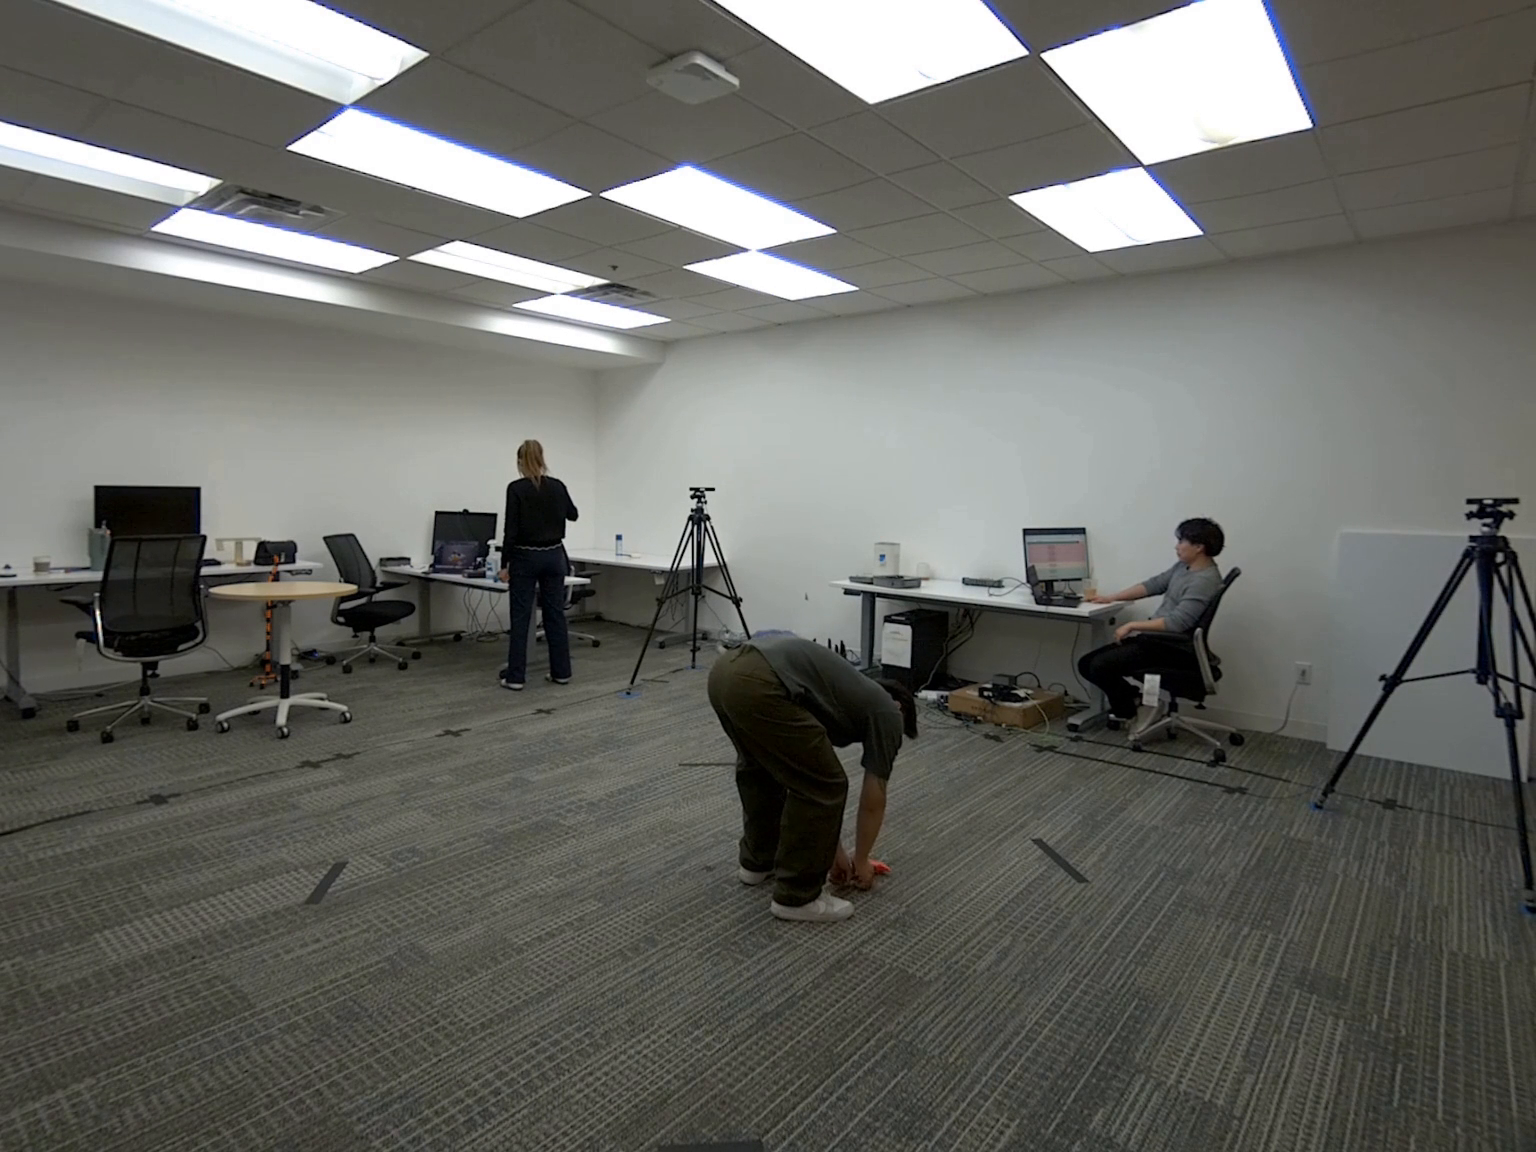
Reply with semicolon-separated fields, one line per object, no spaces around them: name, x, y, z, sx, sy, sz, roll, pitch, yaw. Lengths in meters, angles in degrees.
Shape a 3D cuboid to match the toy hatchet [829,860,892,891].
toy hatchet;0.295;1.067;3.060;0.263;0.029;0.135;-5;7;-31
